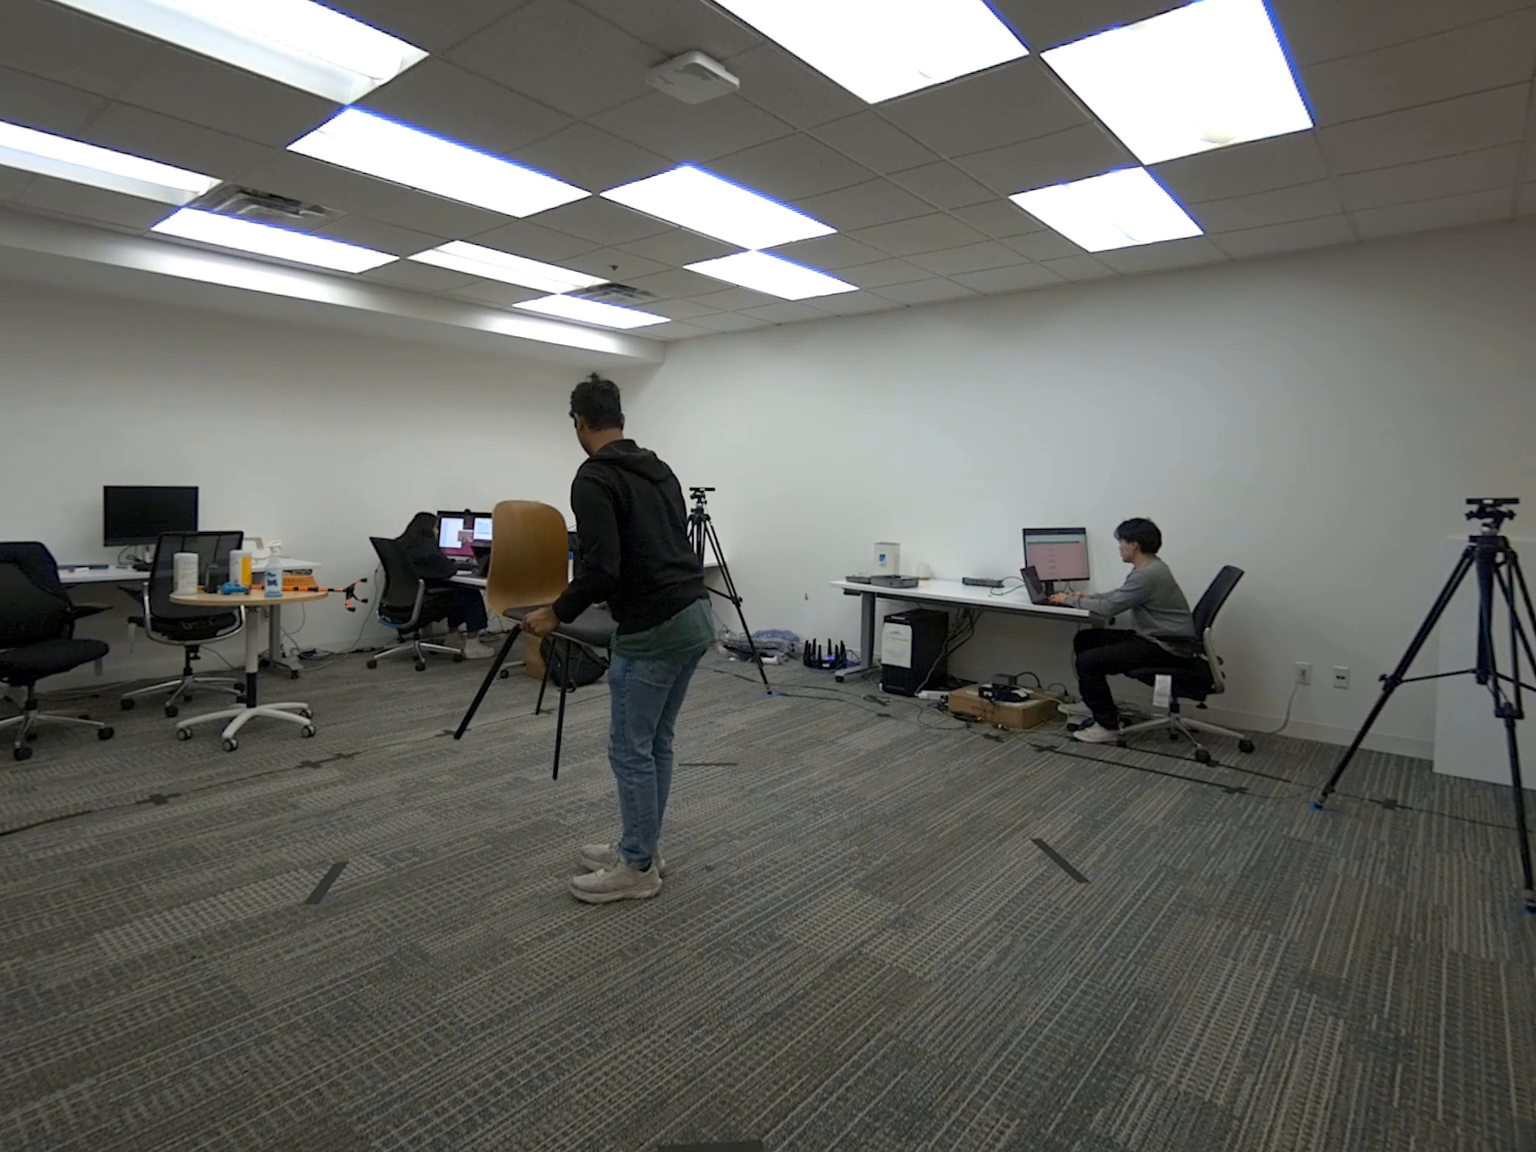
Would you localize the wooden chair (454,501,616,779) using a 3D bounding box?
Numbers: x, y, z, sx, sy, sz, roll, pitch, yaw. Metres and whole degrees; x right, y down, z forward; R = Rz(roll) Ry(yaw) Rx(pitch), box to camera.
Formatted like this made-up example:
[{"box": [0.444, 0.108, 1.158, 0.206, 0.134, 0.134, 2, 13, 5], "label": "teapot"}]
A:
[{"box": [-0.727, 0.193, 3.029, 0.538, 0.874, 0.466, 8, 5, 25], "label": "wooden chair"}]
